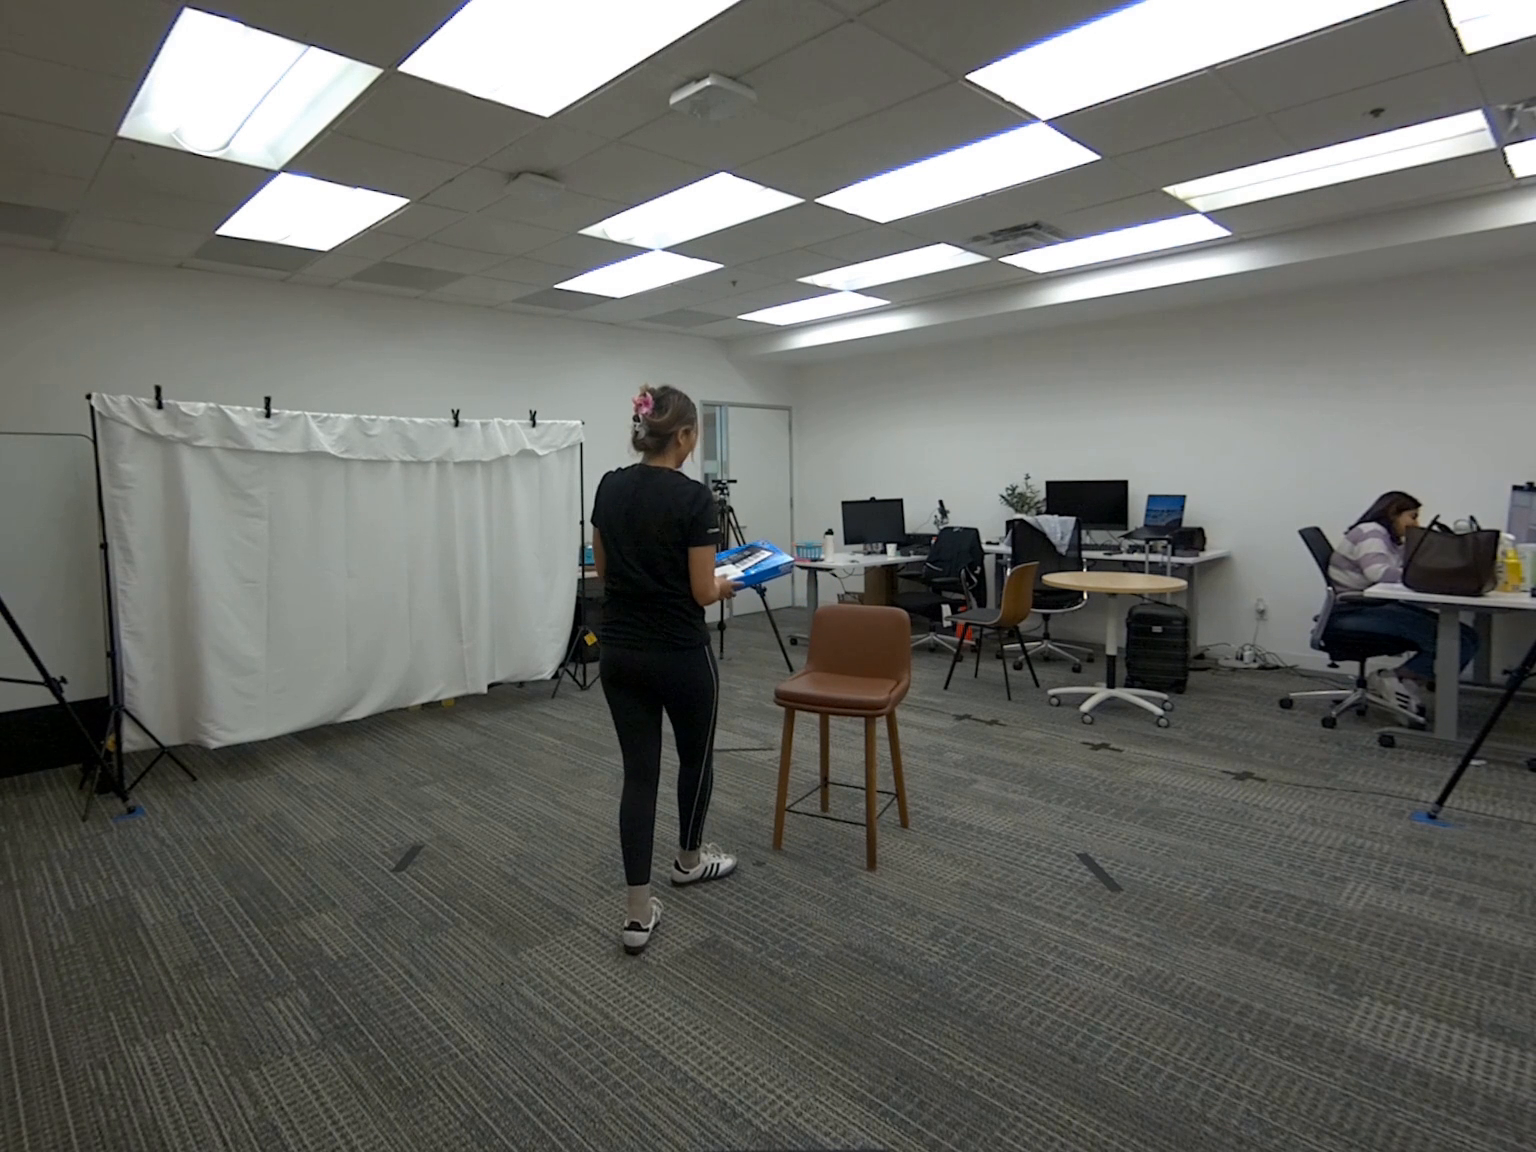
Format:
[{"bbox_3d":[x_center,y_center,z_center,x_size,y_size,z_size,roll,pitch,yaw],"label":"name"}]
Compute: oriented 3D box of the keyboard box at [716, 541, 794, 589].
[{"bbox_3d":[-0.119,-0.020,3.073,0.428,0.058,0.183,-18,39,-37],"label":"keyboard box"}]
